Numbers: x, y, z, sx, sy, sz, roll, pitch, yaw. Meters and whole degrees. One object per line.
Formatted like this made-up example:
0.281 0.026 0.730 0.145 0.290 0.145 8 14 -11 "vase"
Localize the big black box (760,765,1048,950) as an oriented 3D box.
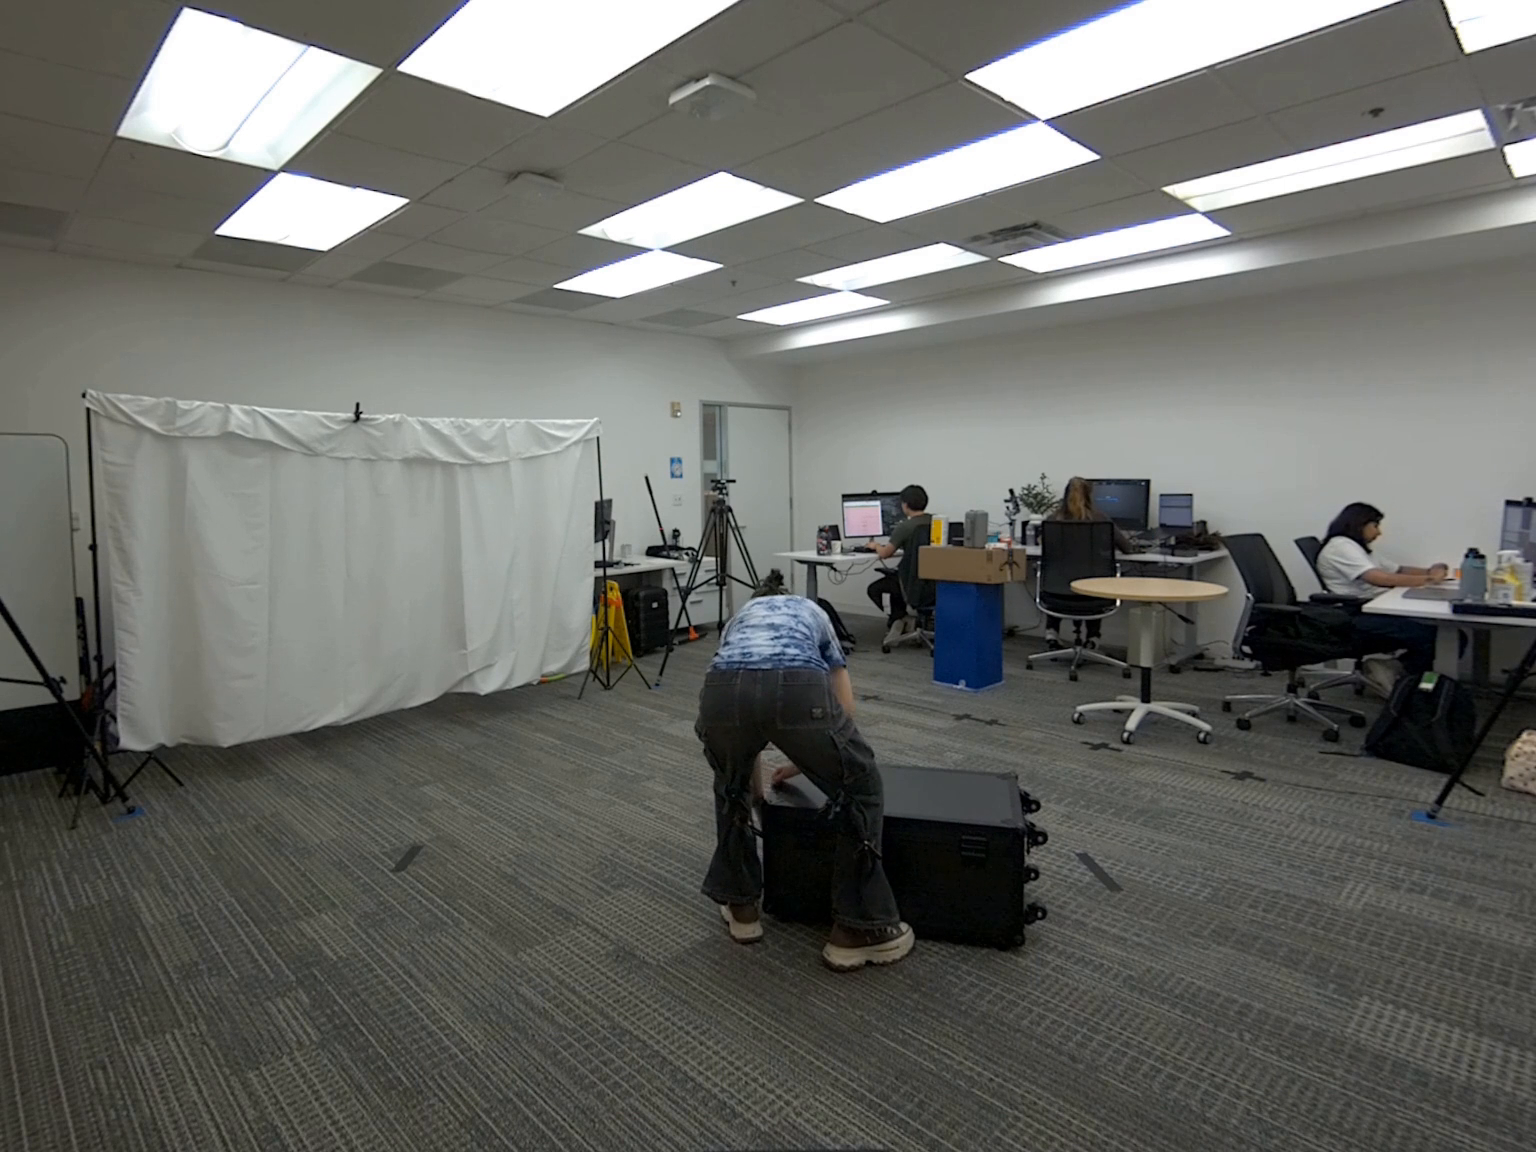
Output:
0.452 0.876 2.803 0.874 0.395 0.516 0 5 15 "big black box"
